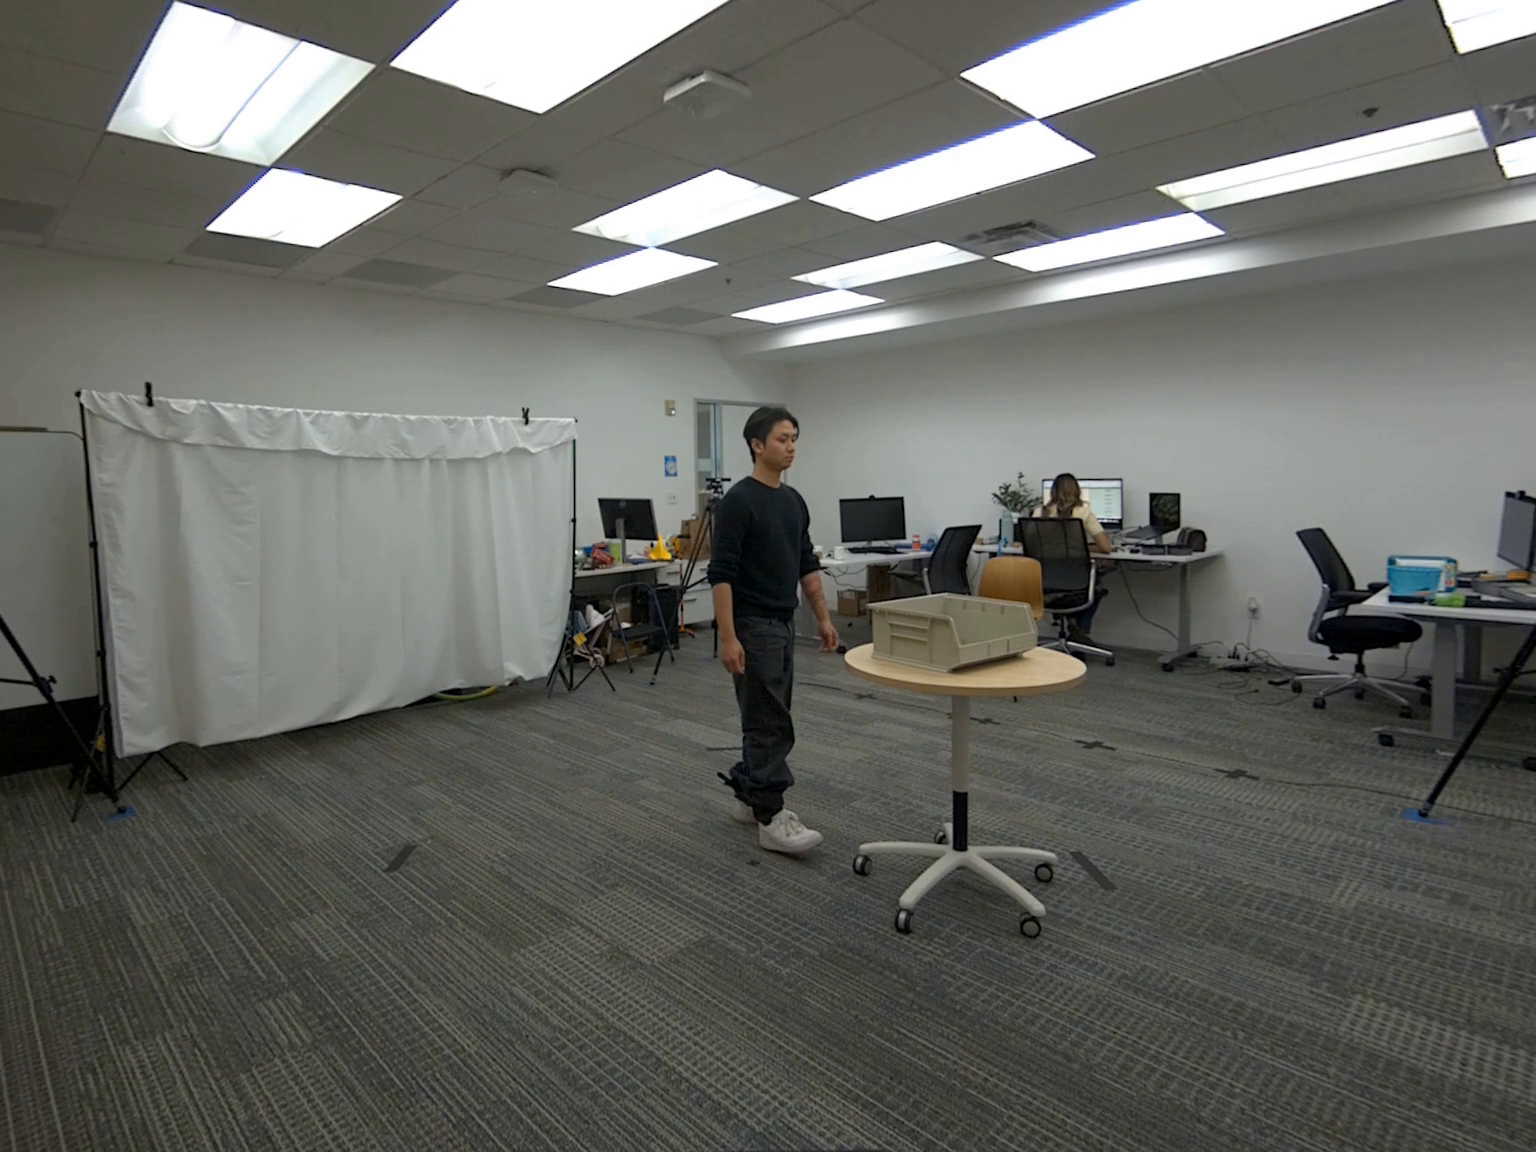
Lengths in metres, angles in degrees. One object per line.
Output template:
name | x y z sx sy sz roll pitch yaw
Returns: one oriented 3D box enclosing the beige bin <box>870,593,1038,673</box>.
beige bin | 0.616 0.183 2.855 0.411 0.188 0.388 -6 6 -39
